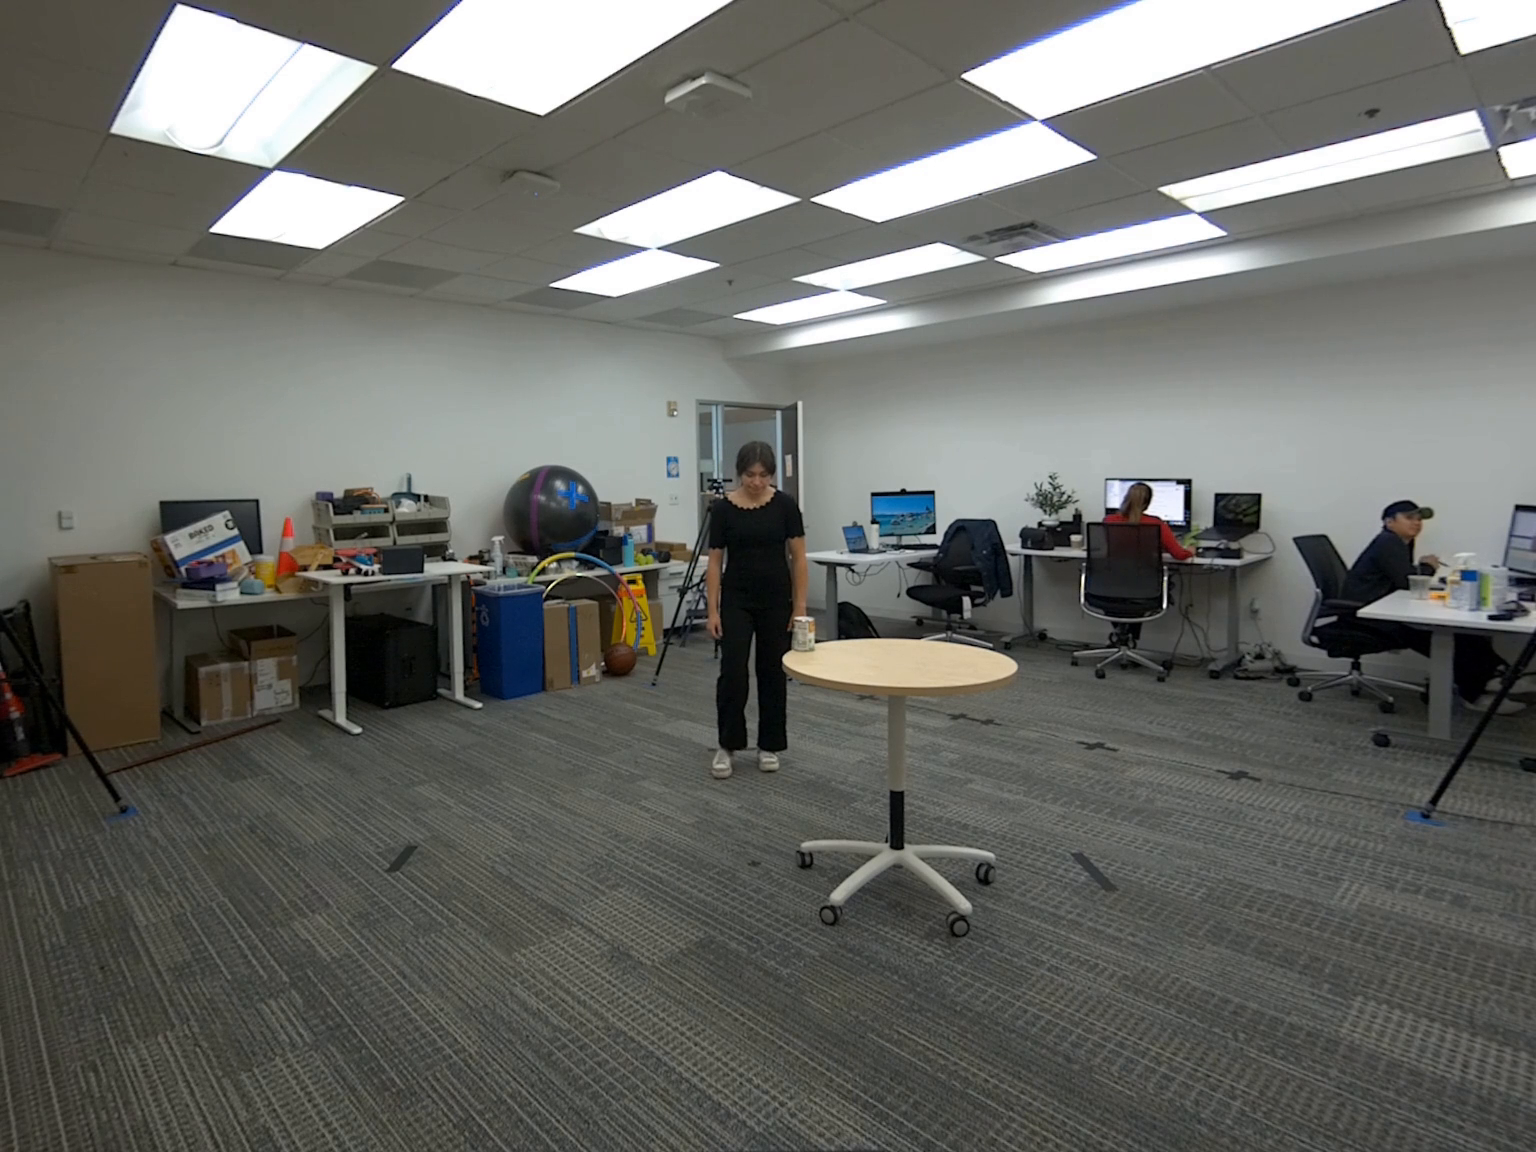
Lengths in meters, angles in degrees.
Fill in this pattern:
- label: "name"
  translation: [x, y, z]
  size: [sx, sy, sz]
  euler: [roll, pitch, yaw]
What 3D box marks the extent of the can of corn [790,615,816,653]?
- label: "can of corn"
  translation: [0.136, 0.210, 3.049]
  size: [0.074, 0.110, 0.074]
  euler: [-1, 5, -2]
